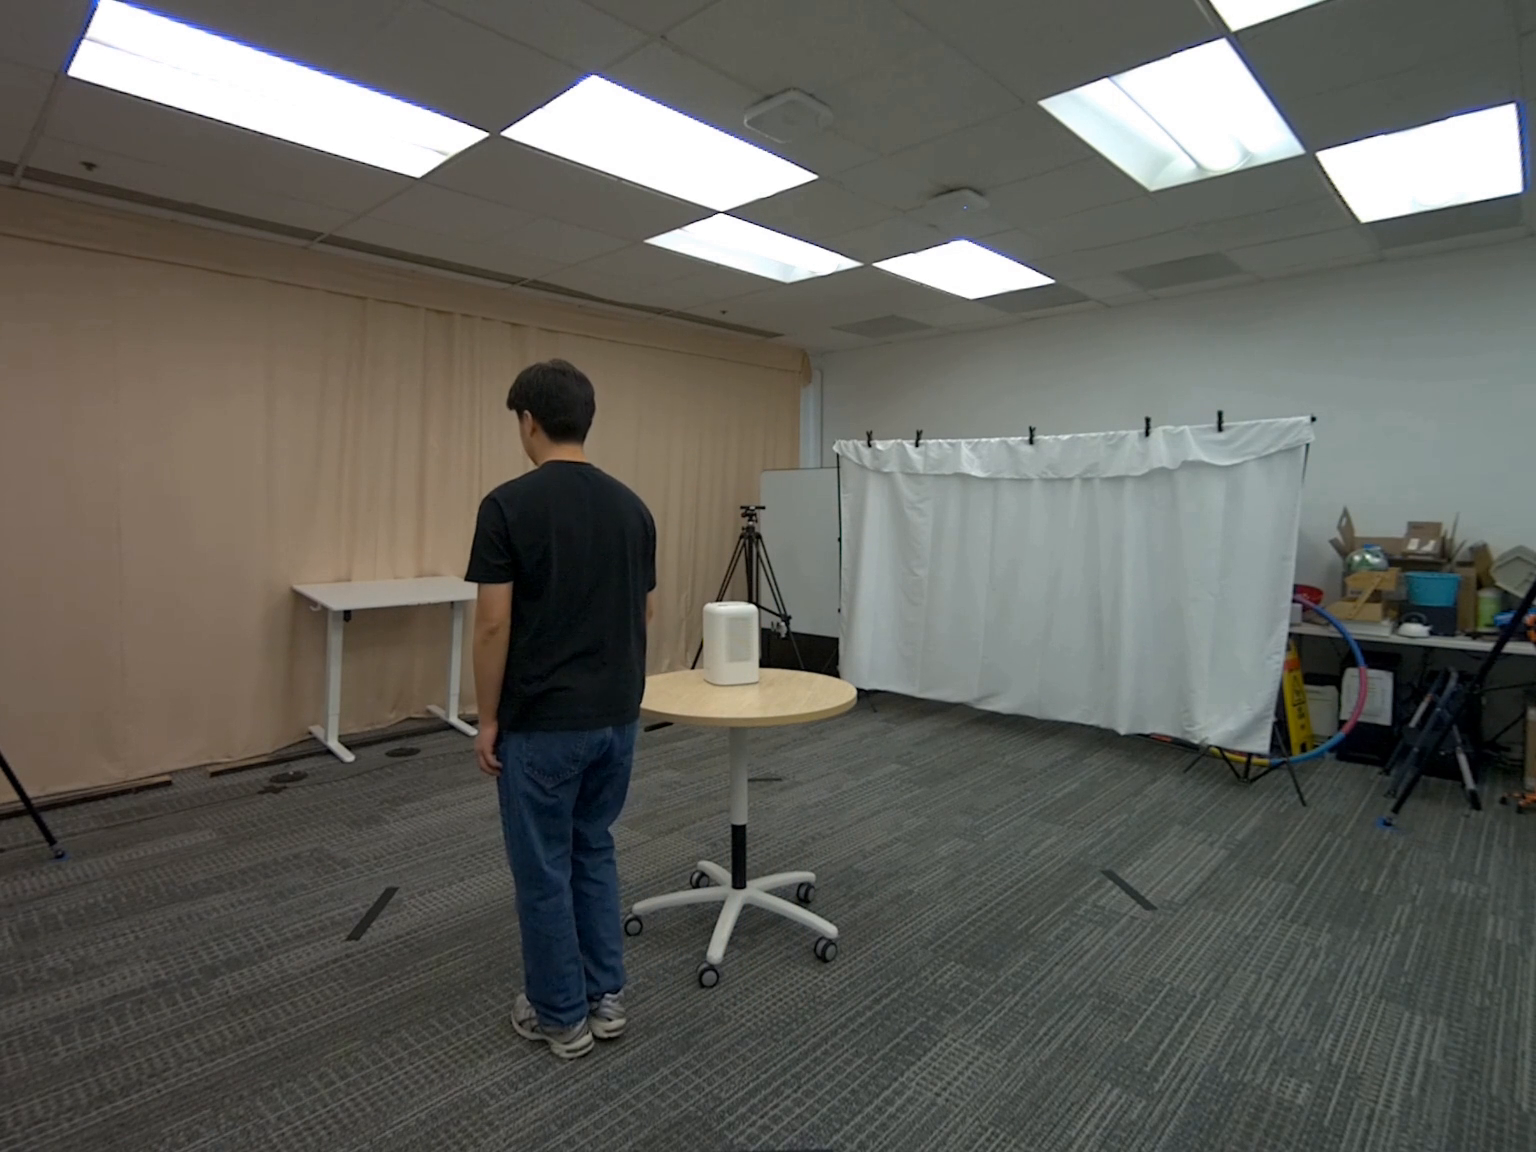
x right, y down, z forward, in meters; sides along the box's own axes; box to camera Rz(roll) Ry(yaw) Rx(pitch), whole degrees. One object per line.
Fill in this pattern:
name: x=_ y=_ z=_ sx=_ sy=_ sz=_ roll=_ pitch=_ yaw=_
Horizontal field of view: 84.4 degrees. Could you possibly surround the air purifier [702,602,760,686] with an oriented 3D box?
air purifier: x=-0.123 y=0.227 z=2.876 sx=0.168 sy=0.265 sz=0.175 roll=-2 pitch=3 yaw=-19
